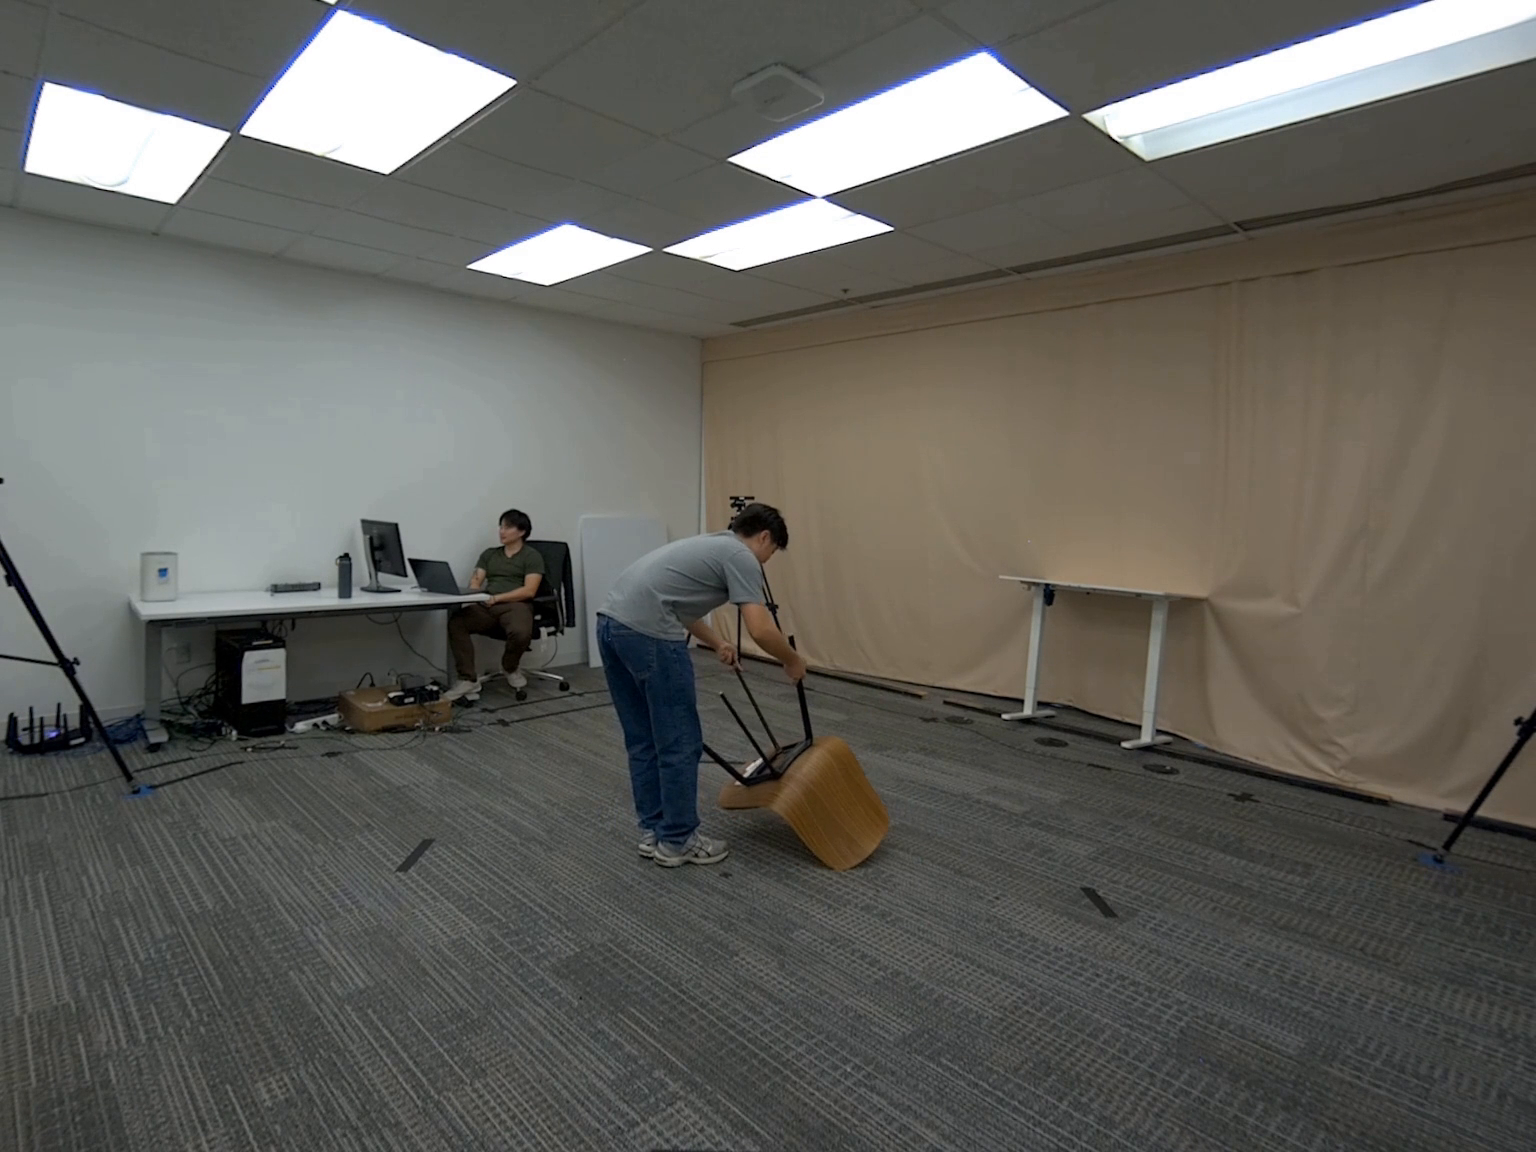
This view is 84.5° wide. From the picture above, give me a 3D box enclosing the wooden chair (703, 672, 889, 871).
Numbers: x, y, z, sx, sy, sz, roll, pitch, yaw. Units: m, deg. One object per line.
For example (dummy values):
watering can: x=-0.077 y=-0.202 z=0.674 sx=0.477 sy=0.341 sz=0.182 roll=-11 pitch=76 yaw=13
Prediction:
wooden chair: x=0.032 y=0.768 z=3.452 sx=0.474 sy=0.877 sz=0.527 roll=-34 pitch=1 yaw=-41
